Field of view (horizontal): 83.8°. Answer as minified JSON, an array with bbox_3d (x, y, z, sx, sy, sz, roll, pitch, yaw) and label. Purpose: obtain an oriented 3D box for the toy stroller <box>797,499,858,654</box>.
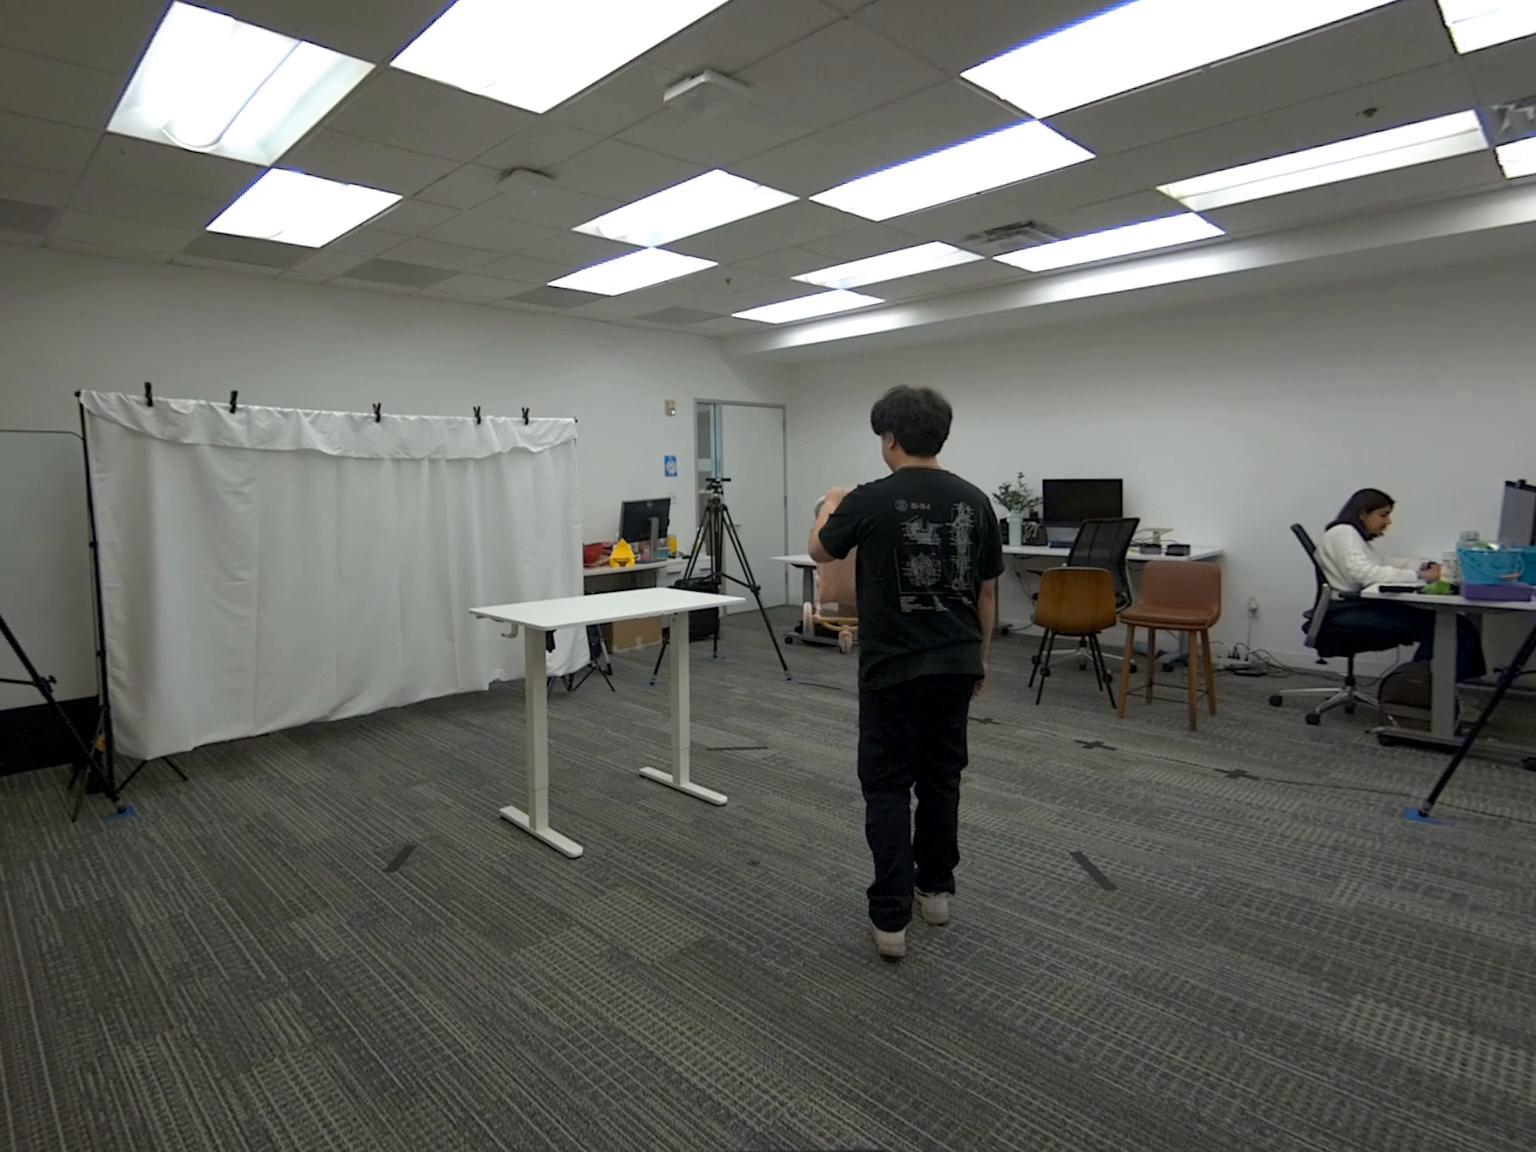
[{"bbox_3d":[0.283,0.004,3.107,0.285,0.539,0.334,-1,-9,12],"label":"toy stroller"}]
